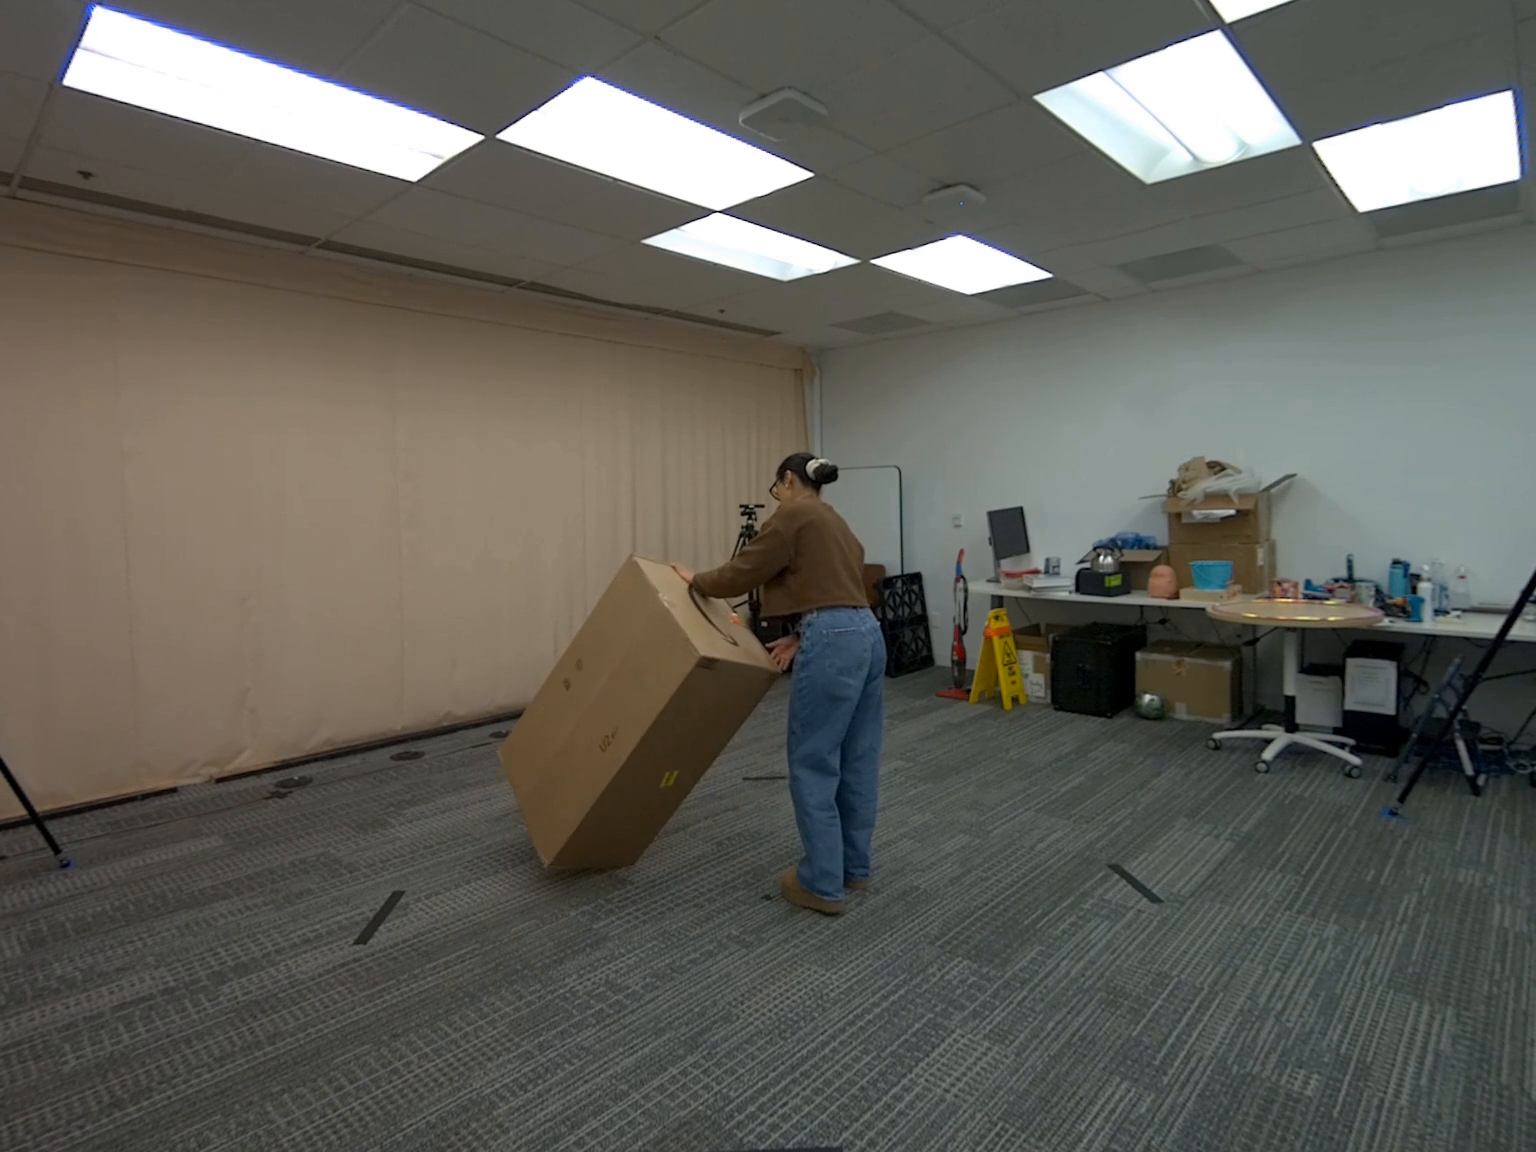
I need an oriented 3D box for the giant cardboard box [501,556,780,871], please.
[{"bbox_3d":[-0.517,0.531,3.203,0.431,1.028,0.604,18,24,-46],"label":"giant cardboard box"}]
